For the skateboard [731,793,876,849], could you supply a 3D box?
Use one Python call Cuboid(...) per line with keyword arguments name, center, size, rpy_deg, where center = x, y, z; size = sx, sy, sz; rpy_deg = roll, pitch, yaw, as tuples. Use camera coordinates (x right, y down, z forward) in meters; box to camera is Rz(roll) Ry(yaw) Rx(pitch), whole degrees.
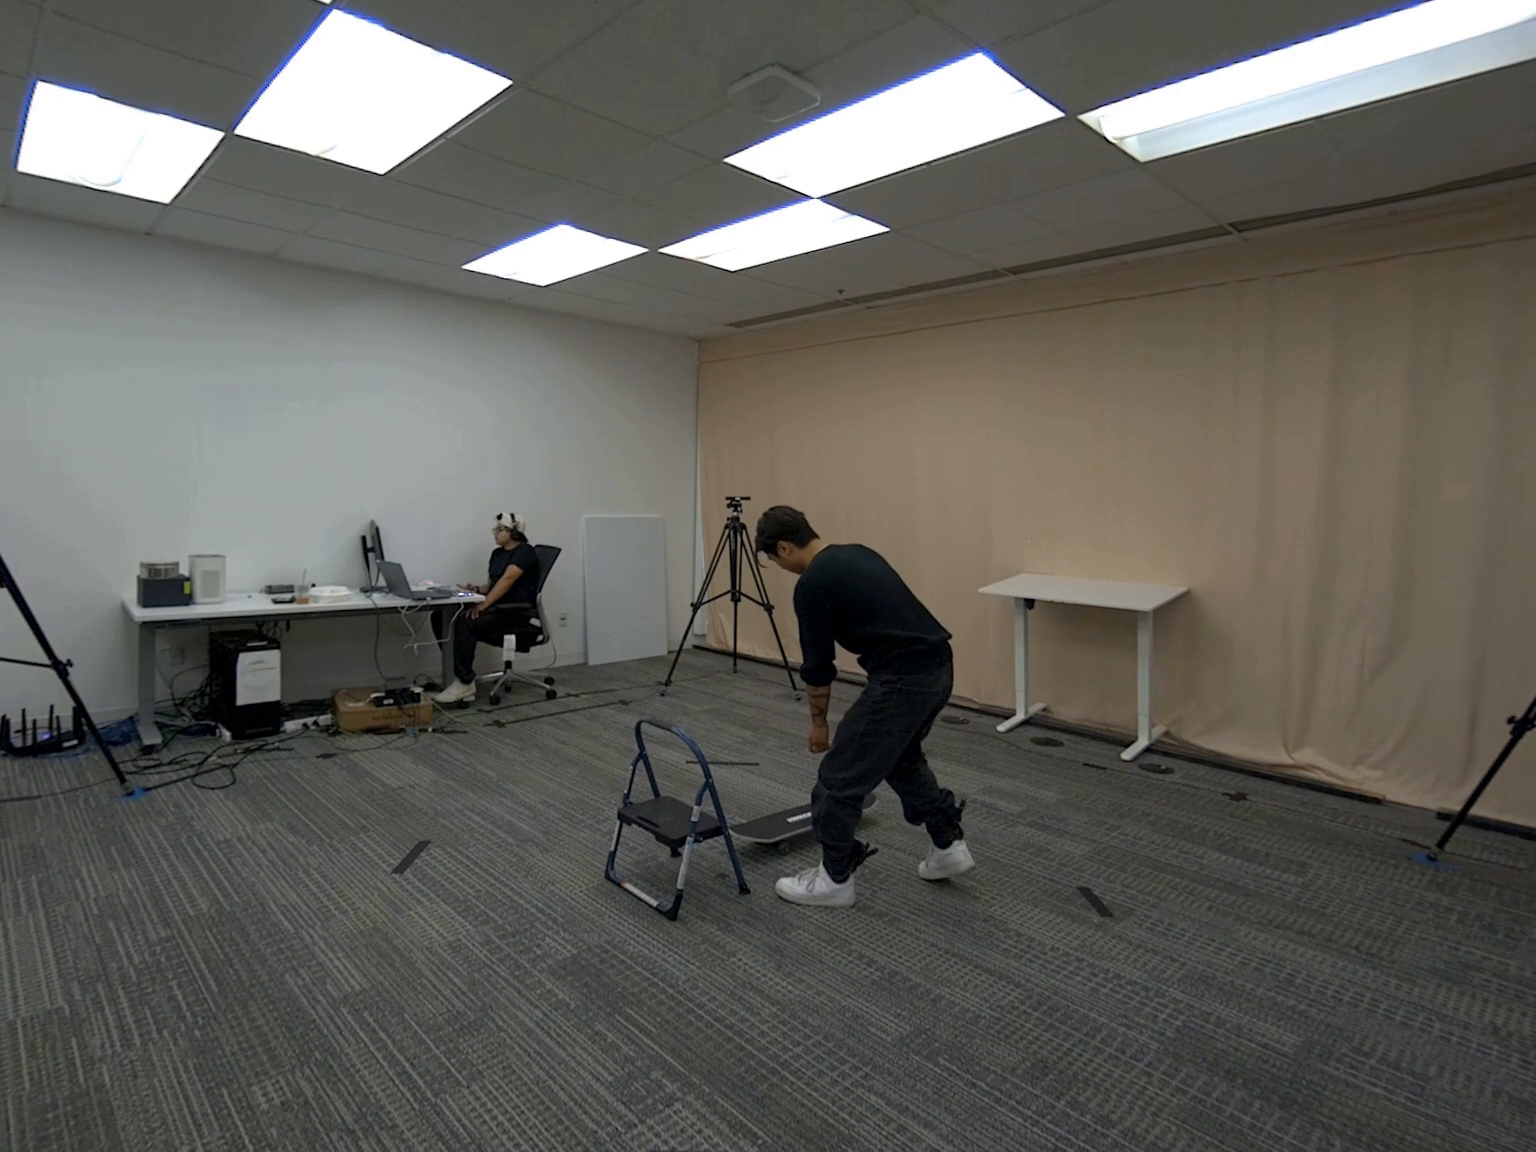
Cuboid(name="skateboard", center=(0.157, 1.027, 3.490), size=(0.768, 0.110, 0.198), rpy_deg=(-3, 6, -40))
